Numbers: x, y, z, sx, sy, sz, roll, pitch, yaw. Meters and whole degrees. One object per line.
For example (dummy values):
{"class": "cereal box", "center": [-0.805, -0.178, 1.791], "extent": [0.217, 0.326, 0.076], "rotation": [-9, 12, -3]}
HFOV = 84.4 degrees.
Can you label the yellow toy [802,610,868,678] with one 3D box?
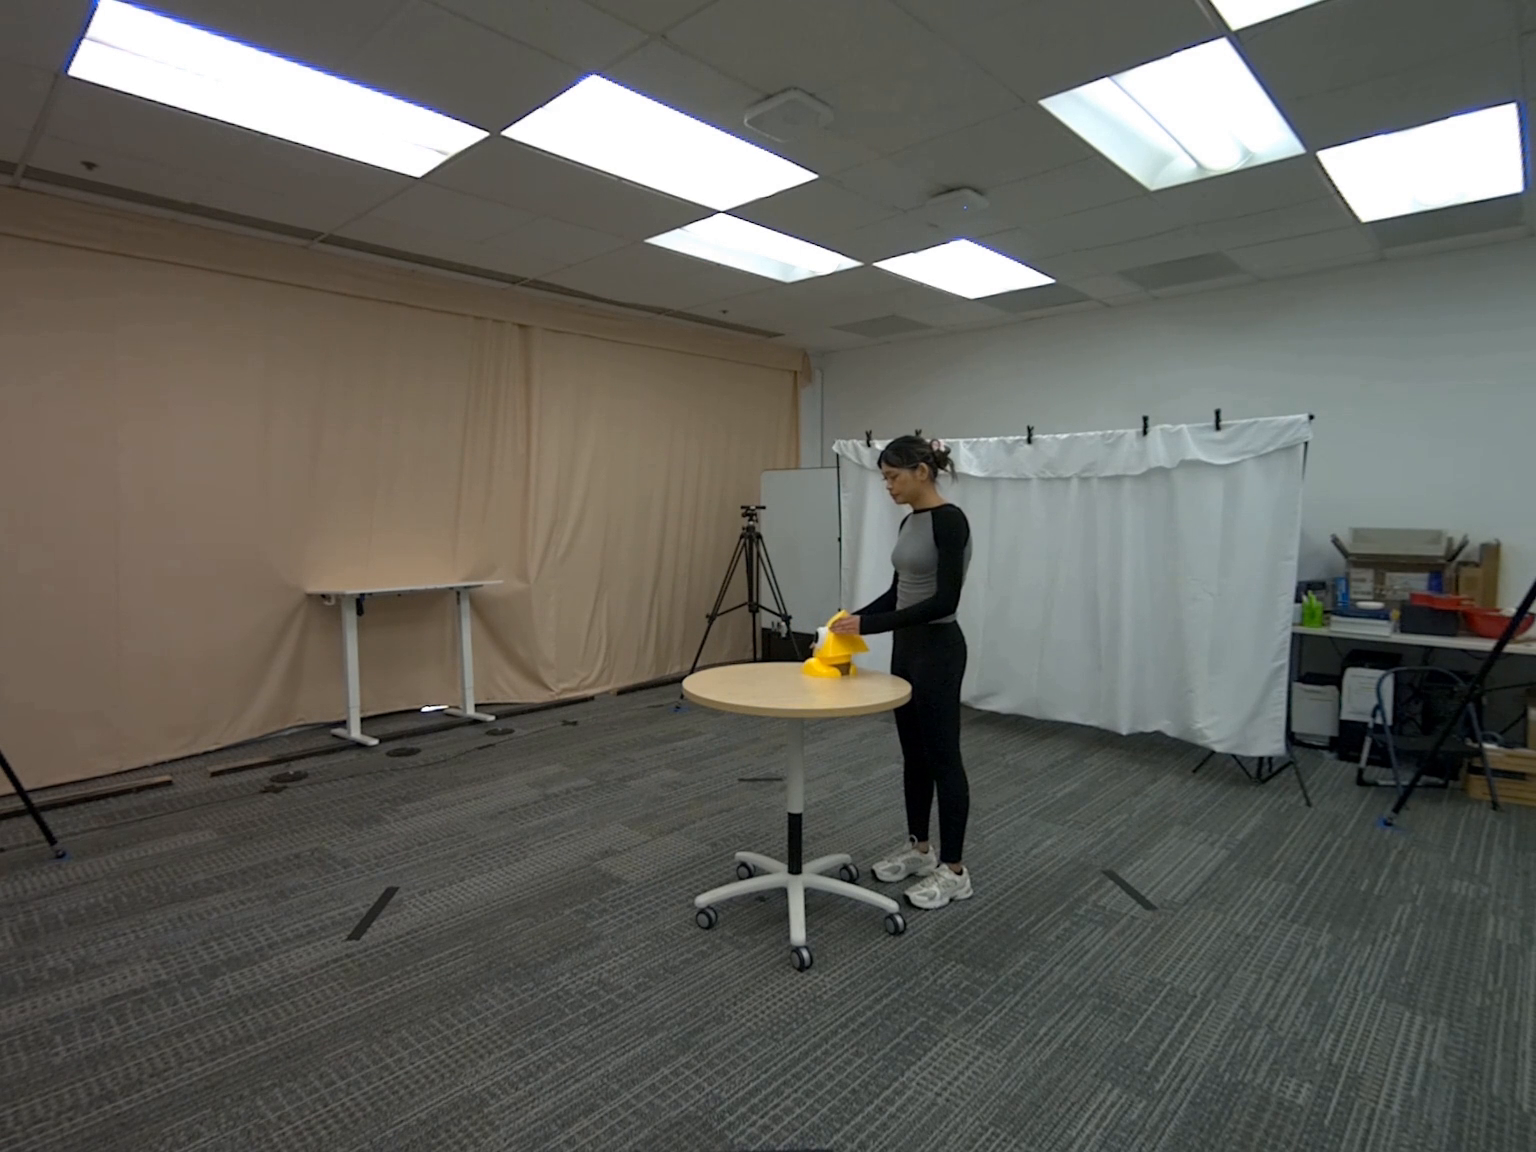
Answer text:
{"class": "yellow toy", "center": [0.234, 0.236, 3.032], "extent": [0.198, 0.230, 0.199], "rotation": [-2, 3, -41]}
